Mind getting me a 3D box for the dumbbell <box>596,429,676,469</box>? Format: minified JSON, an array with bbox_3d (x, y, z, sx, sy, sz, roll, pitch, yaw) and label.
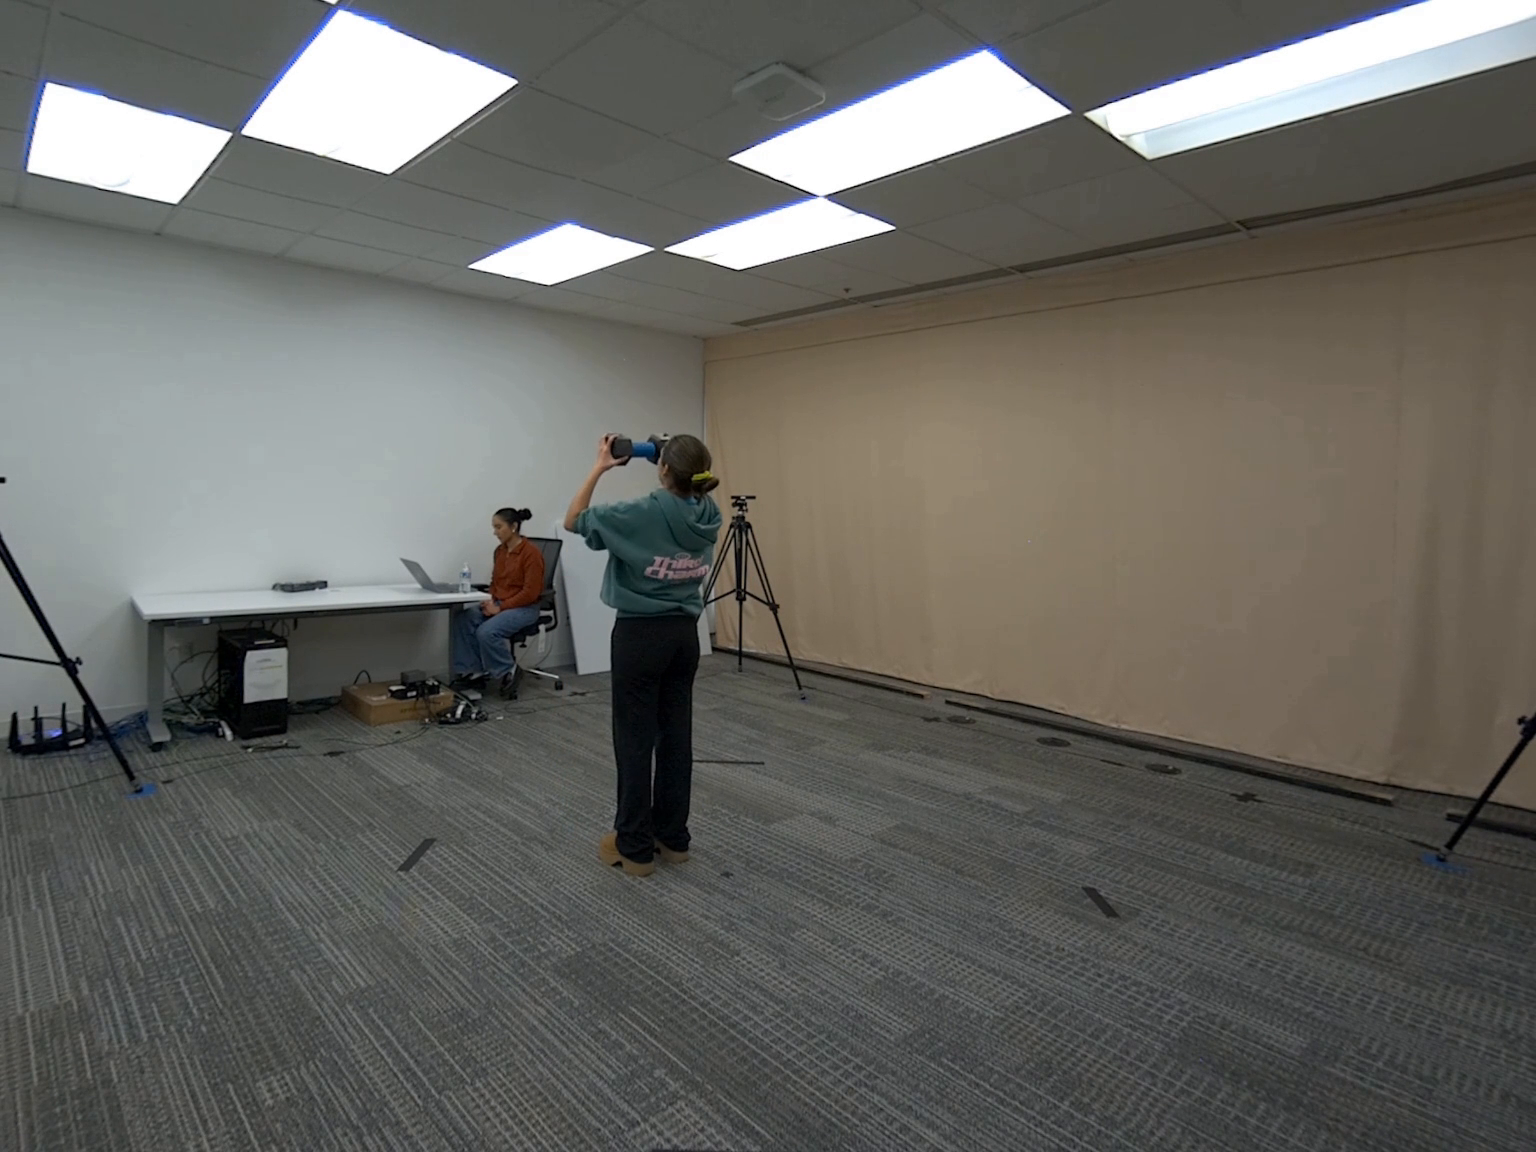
[{"bbox_3d":[-0.493,-0.484,3.213,0.111,0.123,0.287,-9,0,43],"label":"dumbbell"}]
